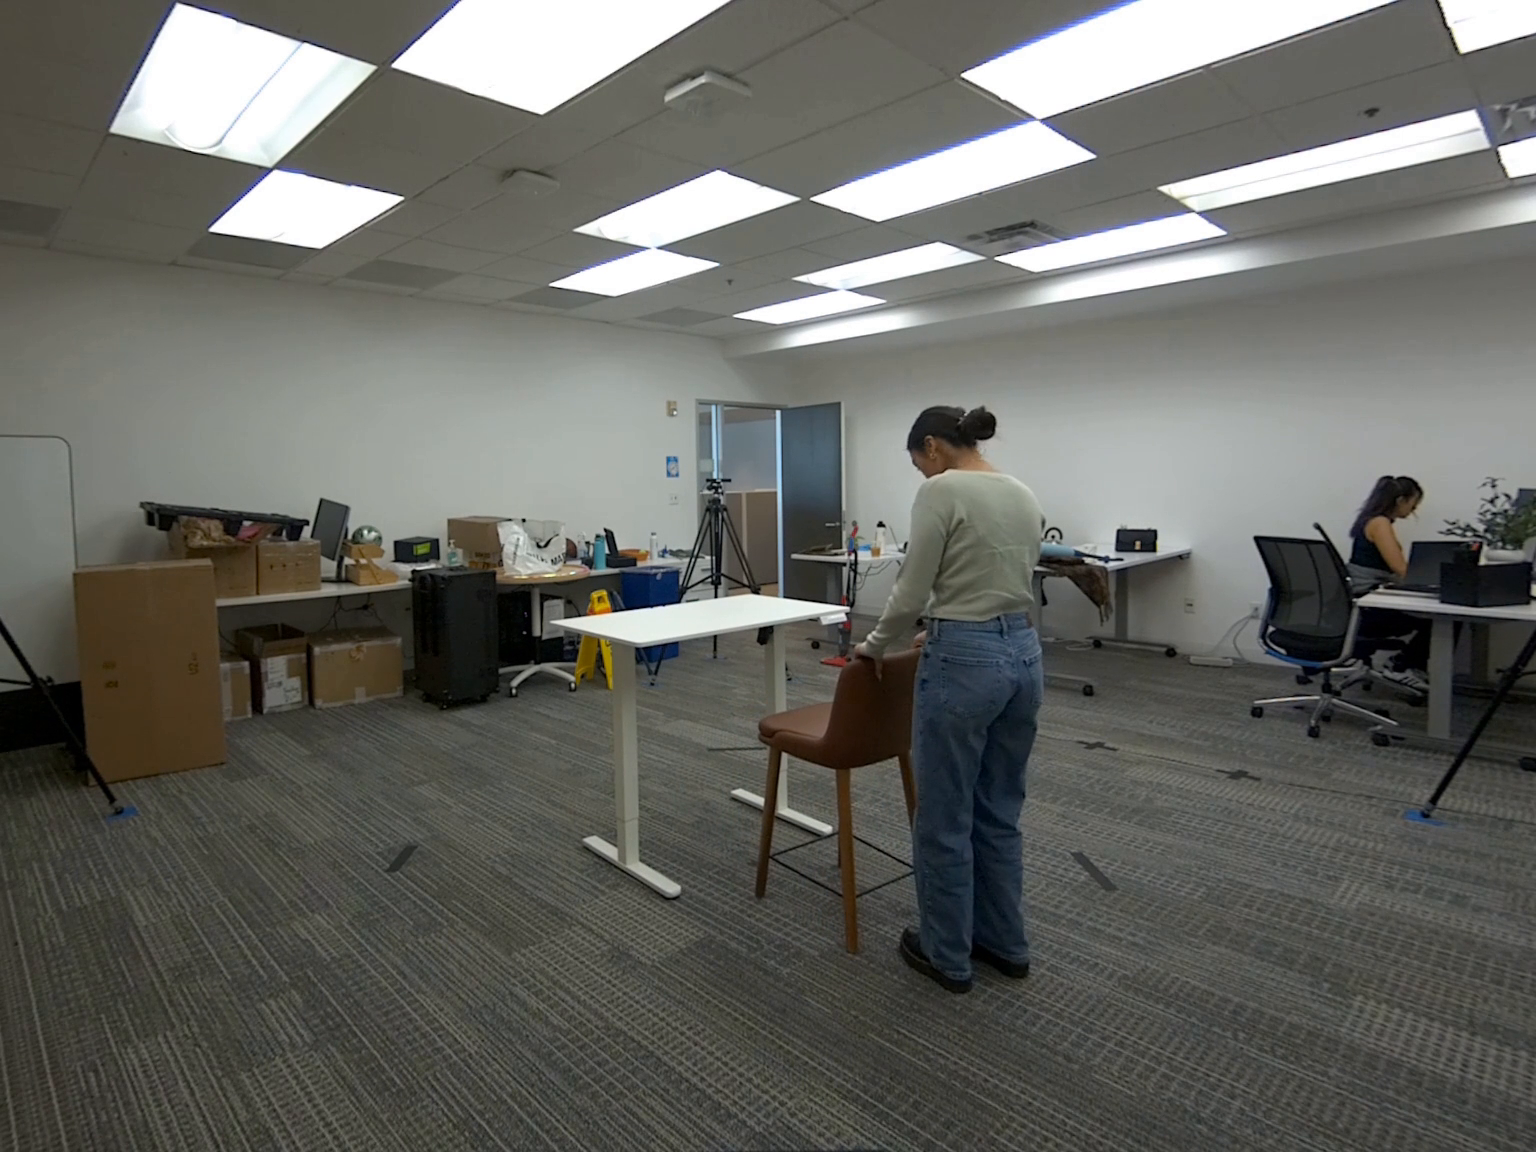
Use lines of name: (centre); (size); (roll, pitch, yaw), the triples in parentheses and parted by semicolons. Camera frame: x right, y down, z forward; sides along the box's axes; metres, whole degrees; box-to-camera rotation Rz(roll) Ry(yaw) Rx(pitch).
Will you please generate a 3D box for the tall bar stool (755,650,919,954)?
tall bar stool: (0.260, 0.640, 2.750); (0.445, 0.885, 0.482); (-4, 7, -37)
